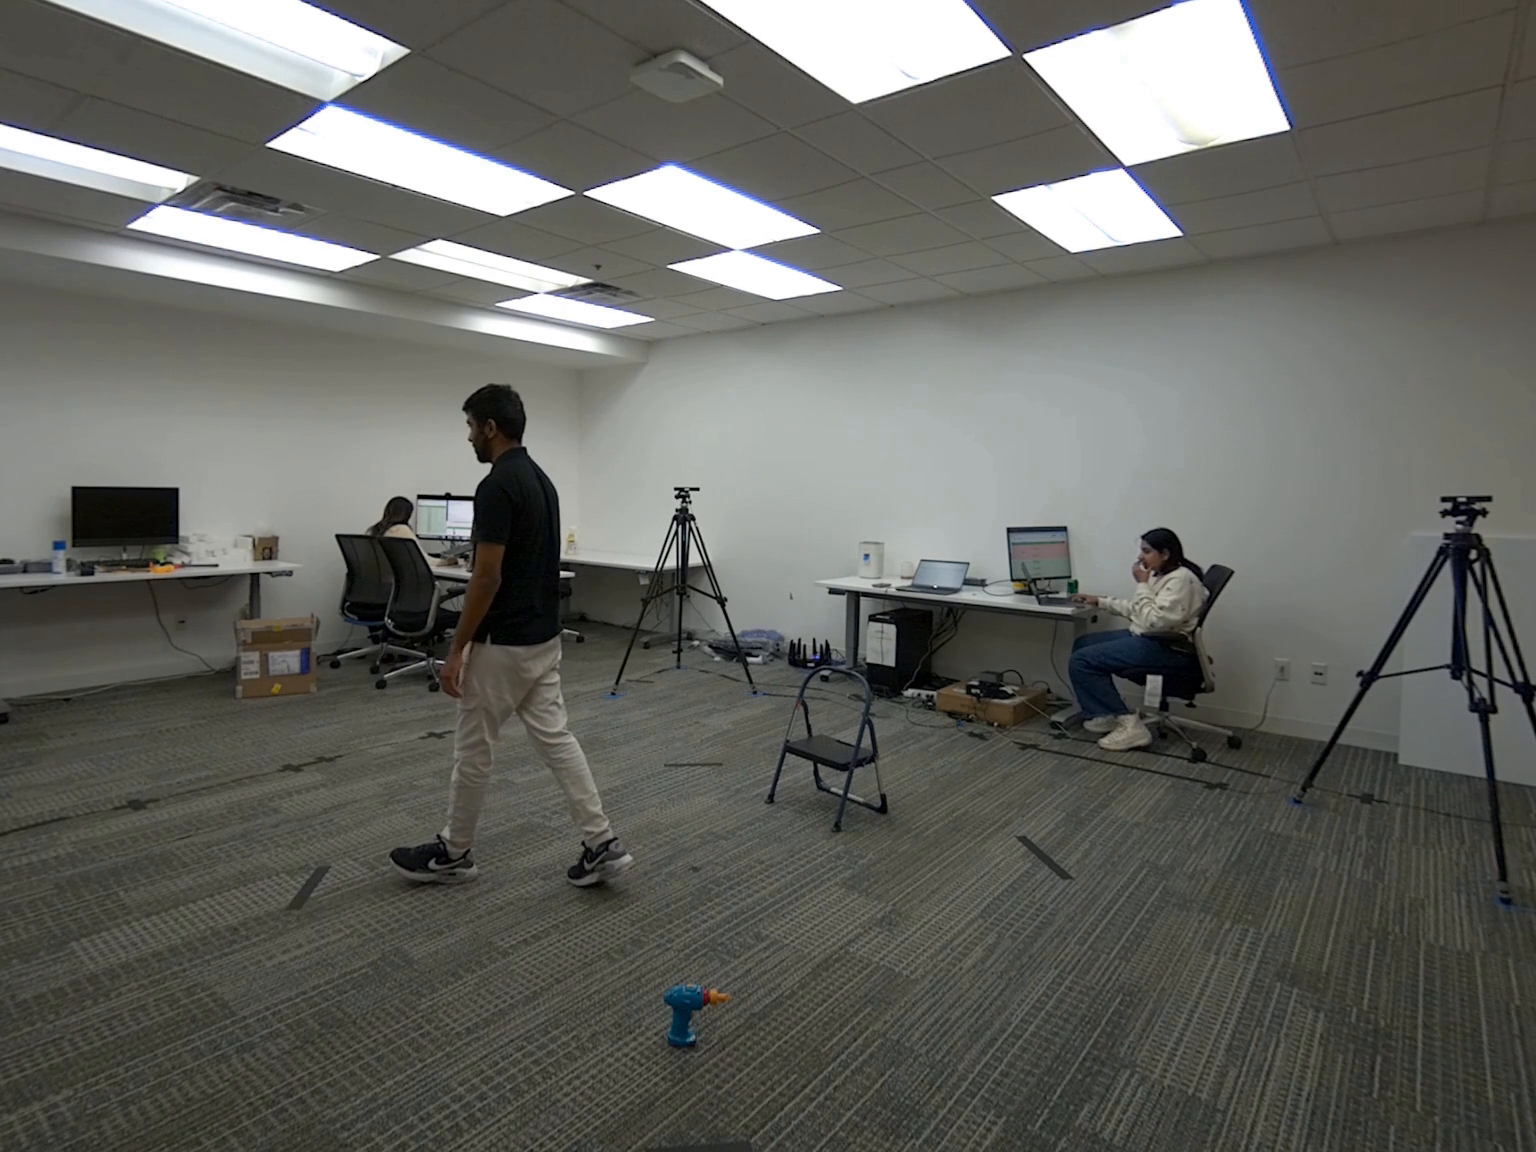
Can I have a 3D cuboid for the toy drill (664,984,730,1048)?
[{"bbox_3d":[-0.184,1.098,2.118,0.170,0.145,0.061,2,8,-1],"label":"toy drill"}]
